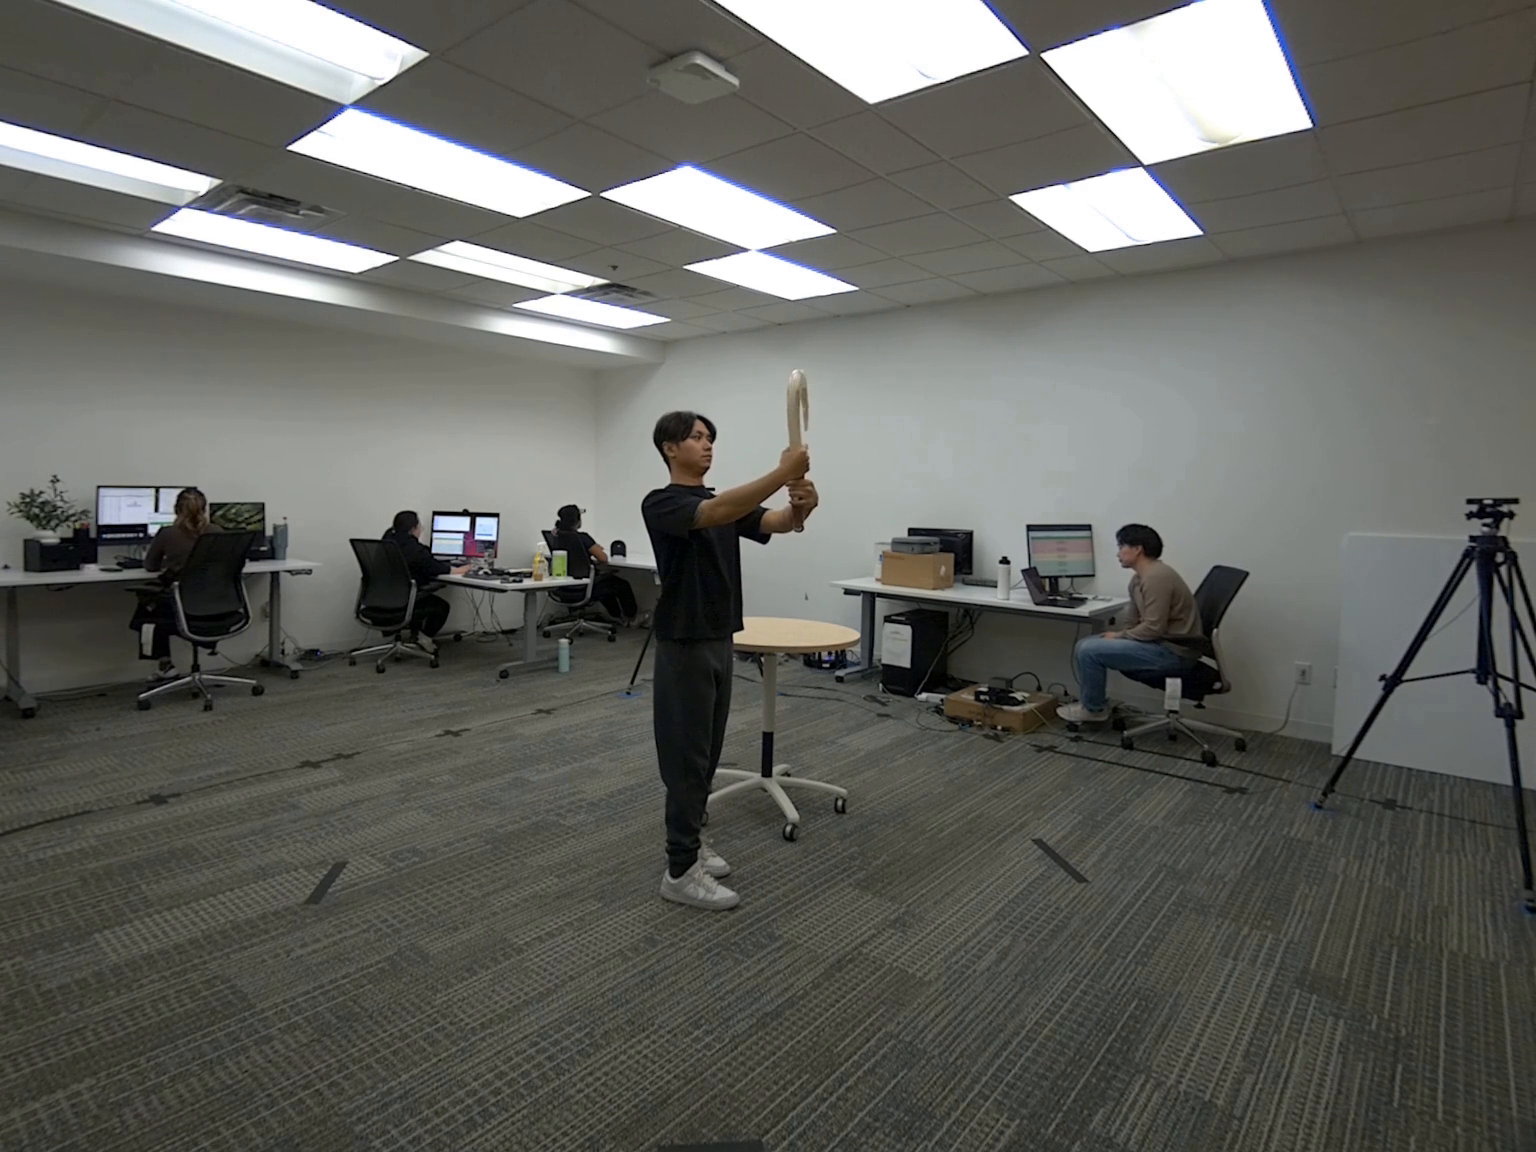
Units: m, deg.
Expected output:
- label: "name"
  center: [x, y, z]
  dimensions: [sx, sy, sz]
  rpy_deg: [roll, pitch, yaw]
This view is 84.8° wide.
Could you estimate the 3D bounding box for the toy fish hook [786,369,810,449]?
- label: "toy fish hook"
  center: [0.102, -0.402, 2.710]
  dimensions: [0.049, 0.501, 0.222]
  rpy_deg: [2, 11, 17]
